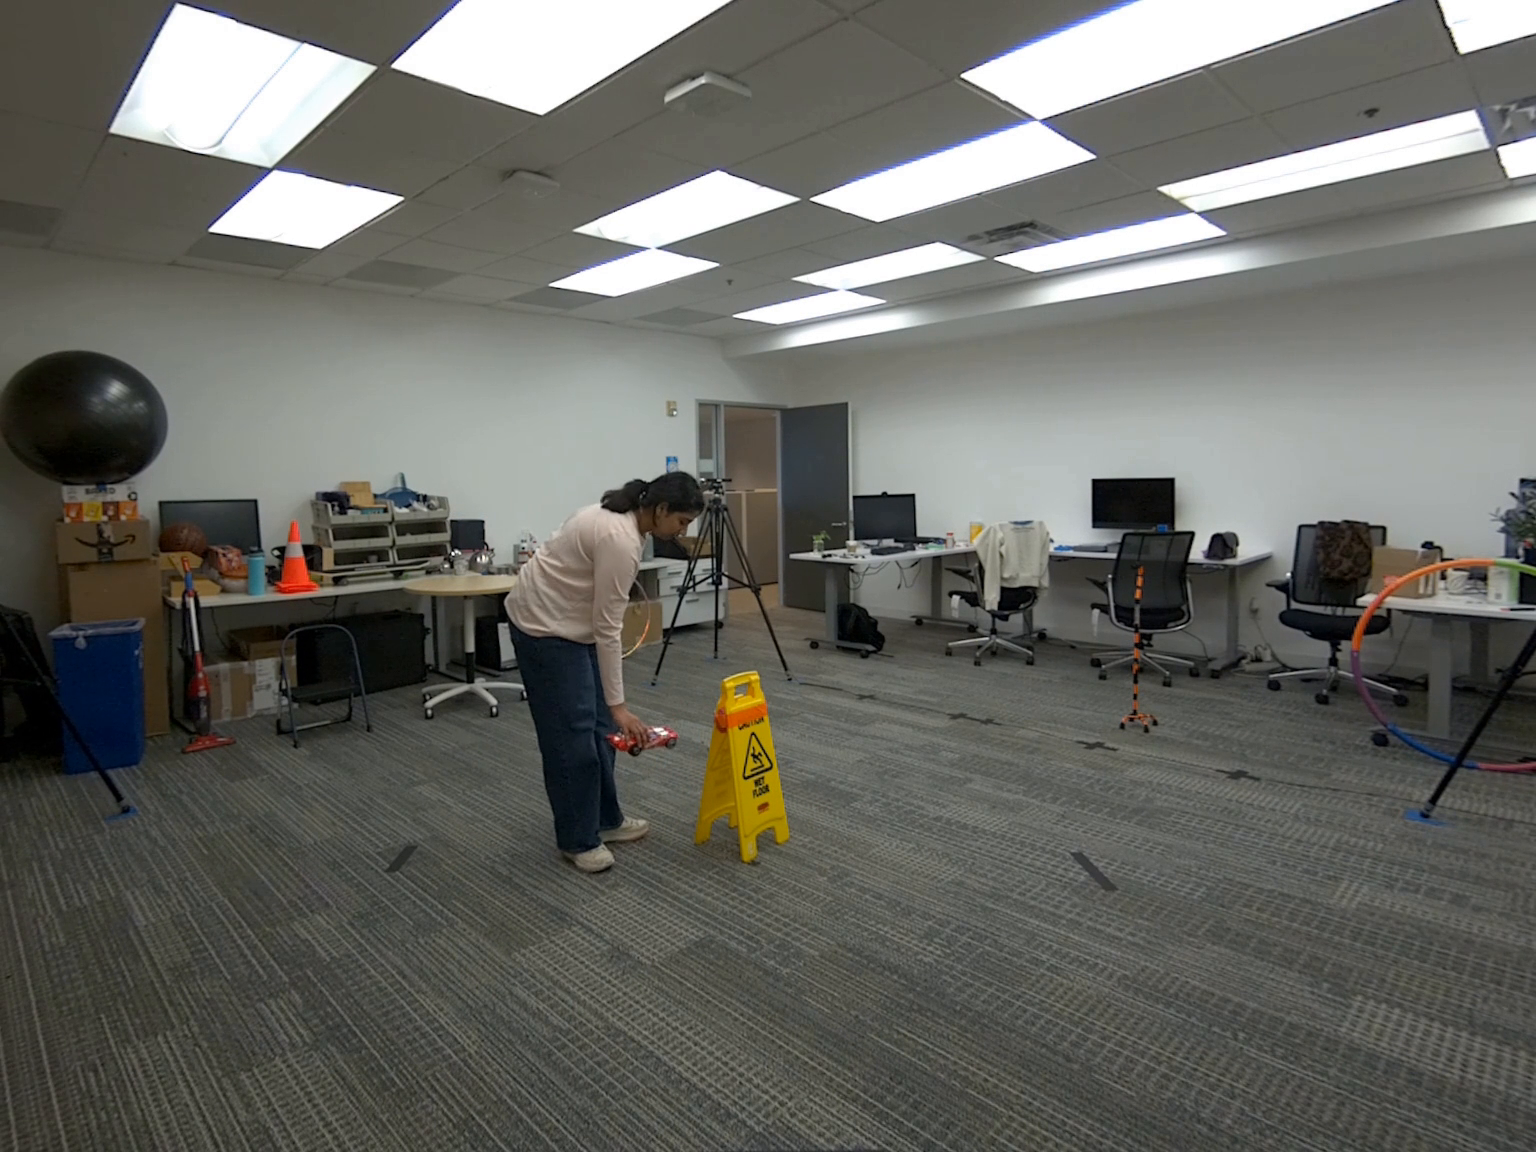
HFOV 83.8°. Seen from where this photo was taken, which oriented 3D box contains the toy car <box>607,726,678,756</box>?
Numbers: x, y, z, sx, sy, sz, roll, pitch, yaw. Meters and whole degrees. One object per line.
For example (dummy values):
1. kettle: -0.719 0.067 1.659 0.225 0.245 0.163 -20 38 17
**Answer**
1. toy car: -0.439 0.580 3.002 0.247 0.083 0.135 7 7 -37
